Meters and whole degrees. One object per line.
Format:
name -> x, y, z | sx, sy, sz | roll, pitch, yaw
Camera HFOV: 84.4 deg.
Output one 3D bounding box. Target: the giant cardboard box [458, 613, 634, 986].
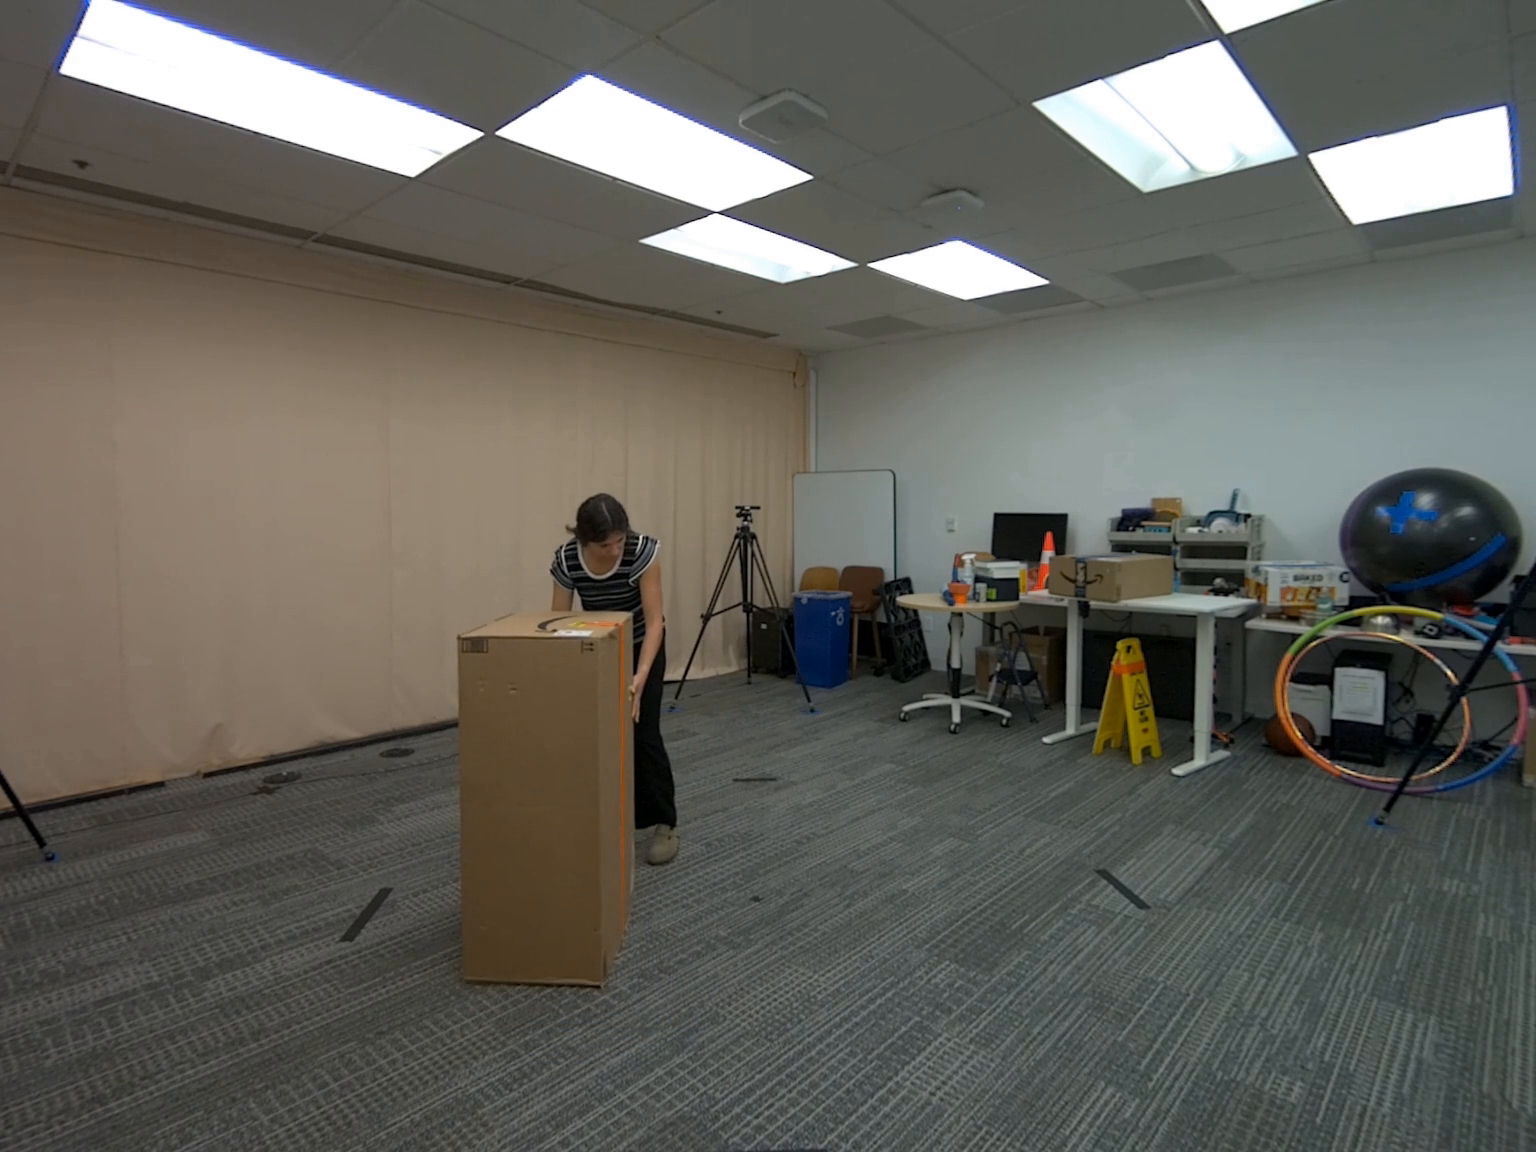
giant cardboard box -> -0.683, 0.659, 2.712 | 0.427, 1.024, 0.577 | 0, 3, 1
